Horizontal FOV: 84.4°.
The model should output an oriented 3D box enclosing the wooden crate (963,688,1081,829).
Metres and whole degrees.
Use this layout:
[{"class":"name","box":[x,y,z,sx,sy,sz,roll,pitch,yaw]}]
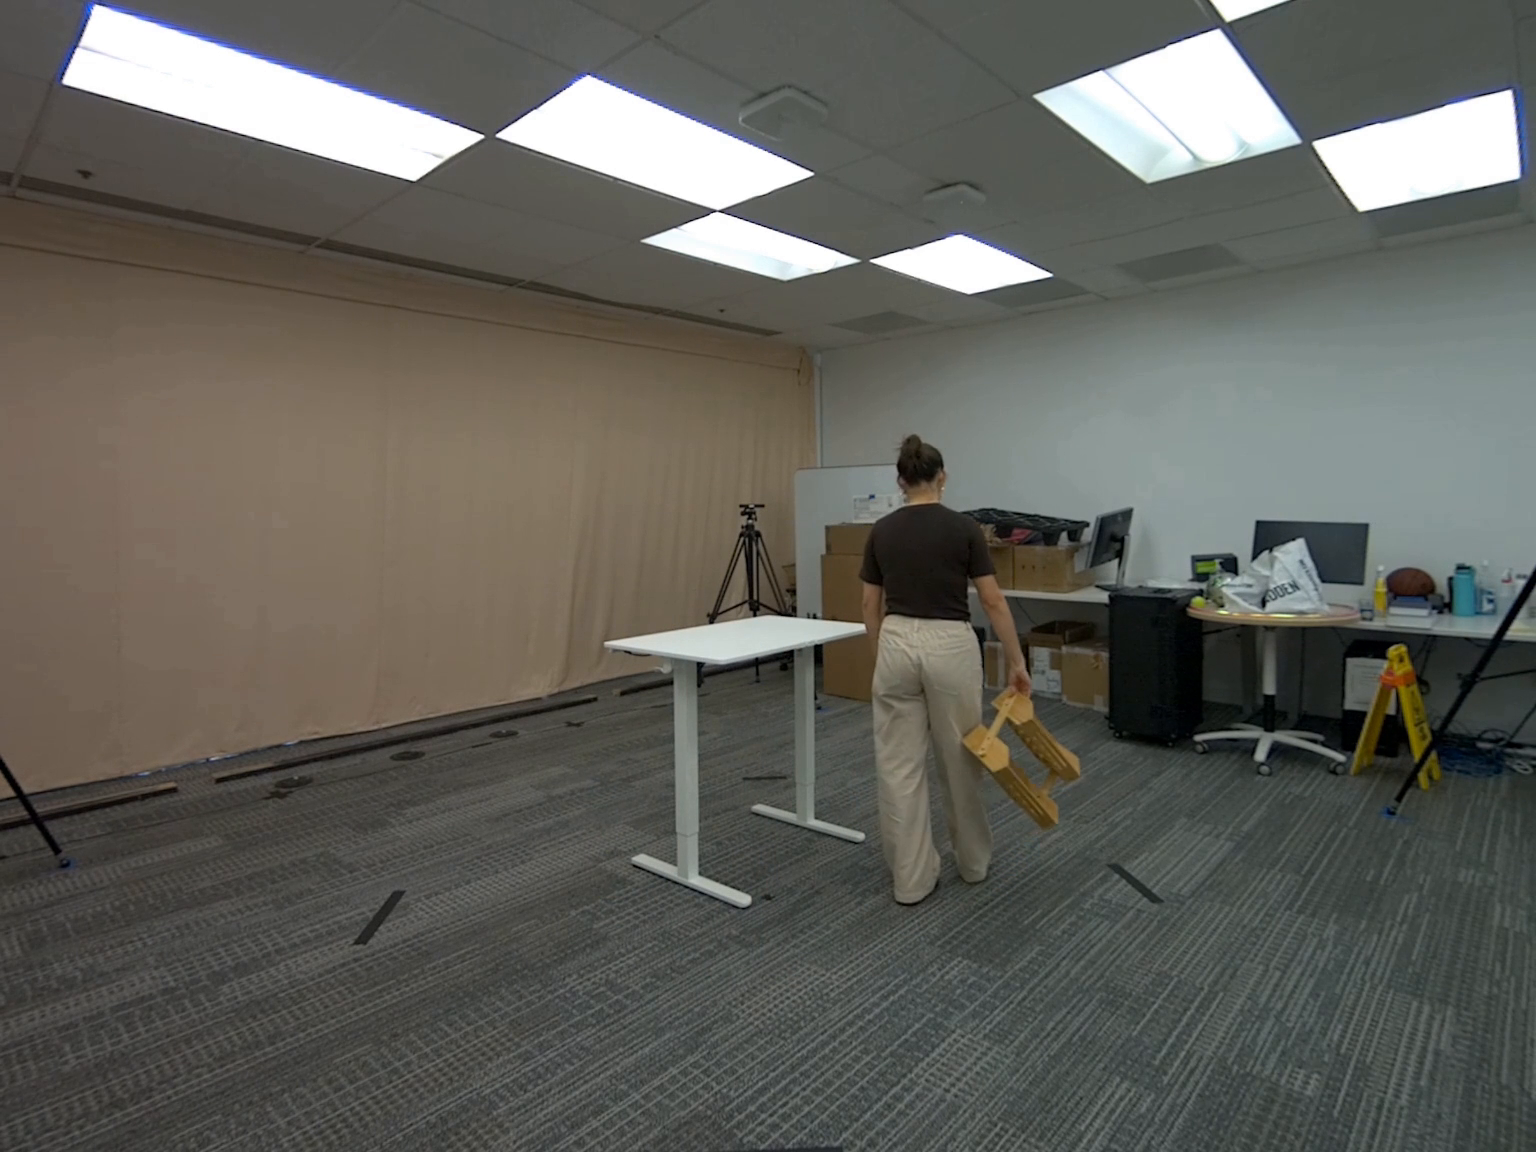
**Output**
[{"class":"wooden crate","box":[0.892,0.617,2.853,0.273,0.318,0.308,-41,18,2]}]
